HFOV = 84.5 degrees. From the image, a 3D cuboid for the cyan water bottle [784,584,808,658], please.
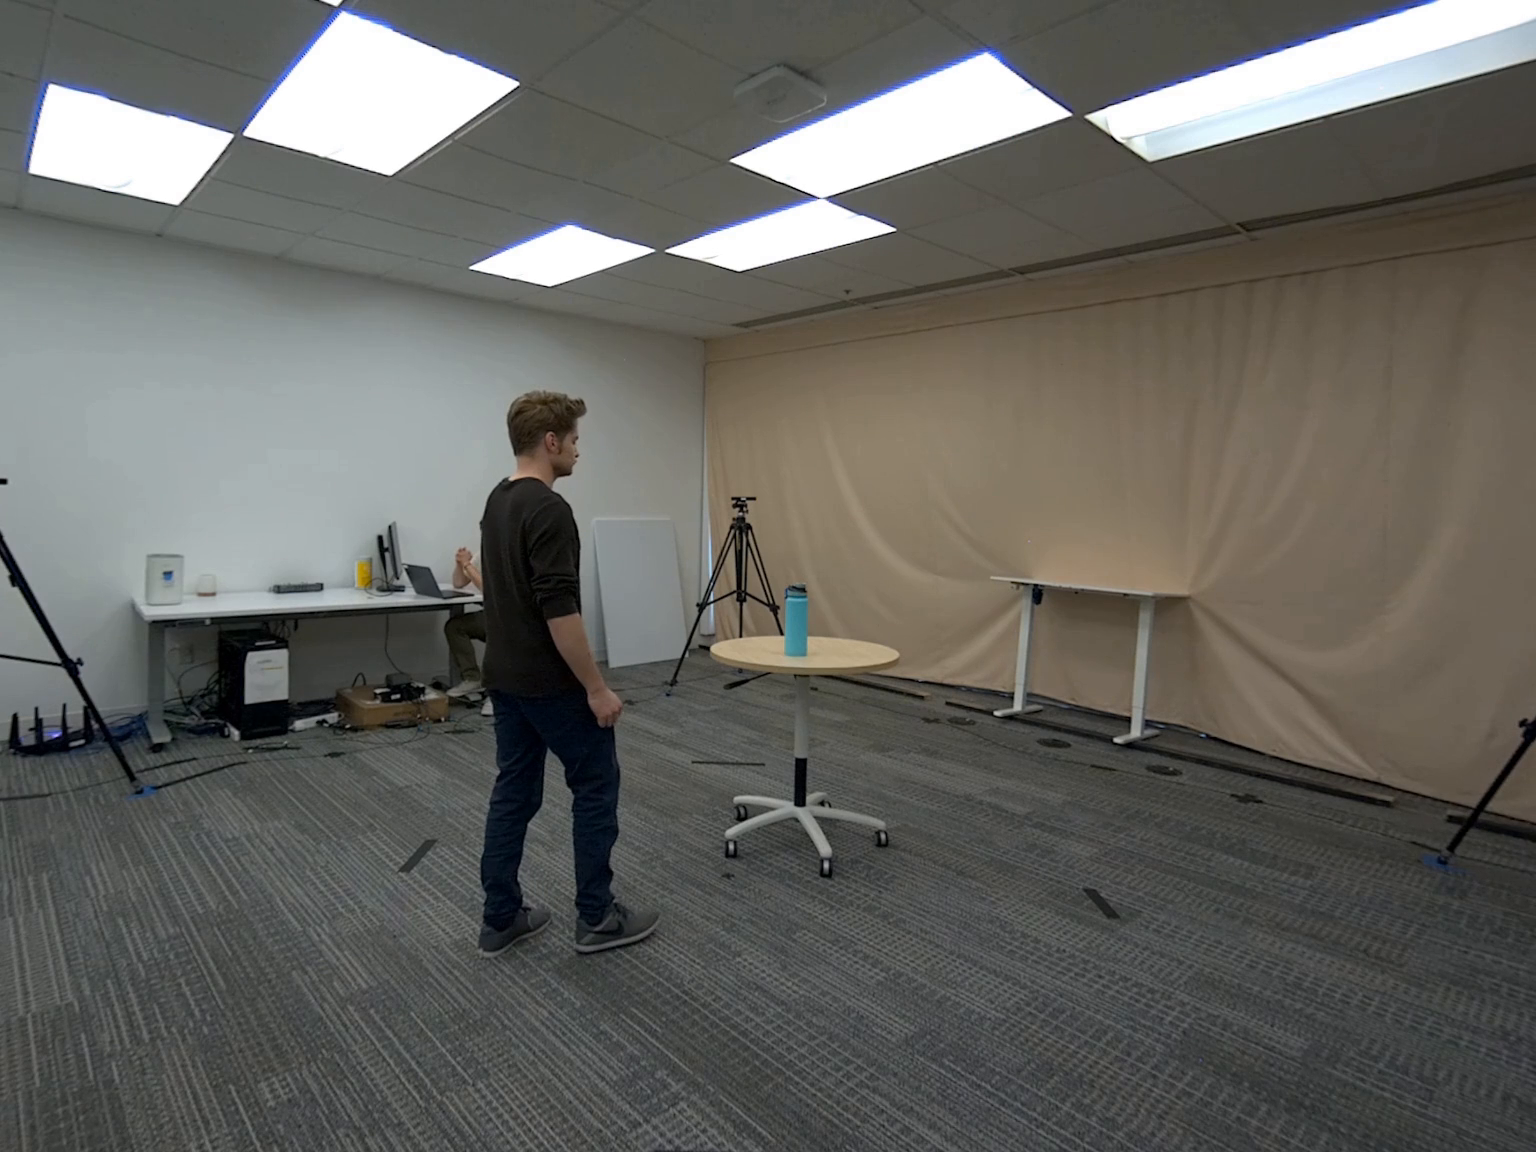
[{"bbox_3d":[0.104,0.171,3.328,0.092,0.283,0.092,1,2,-1],"label":"cyan water bottle"}]
